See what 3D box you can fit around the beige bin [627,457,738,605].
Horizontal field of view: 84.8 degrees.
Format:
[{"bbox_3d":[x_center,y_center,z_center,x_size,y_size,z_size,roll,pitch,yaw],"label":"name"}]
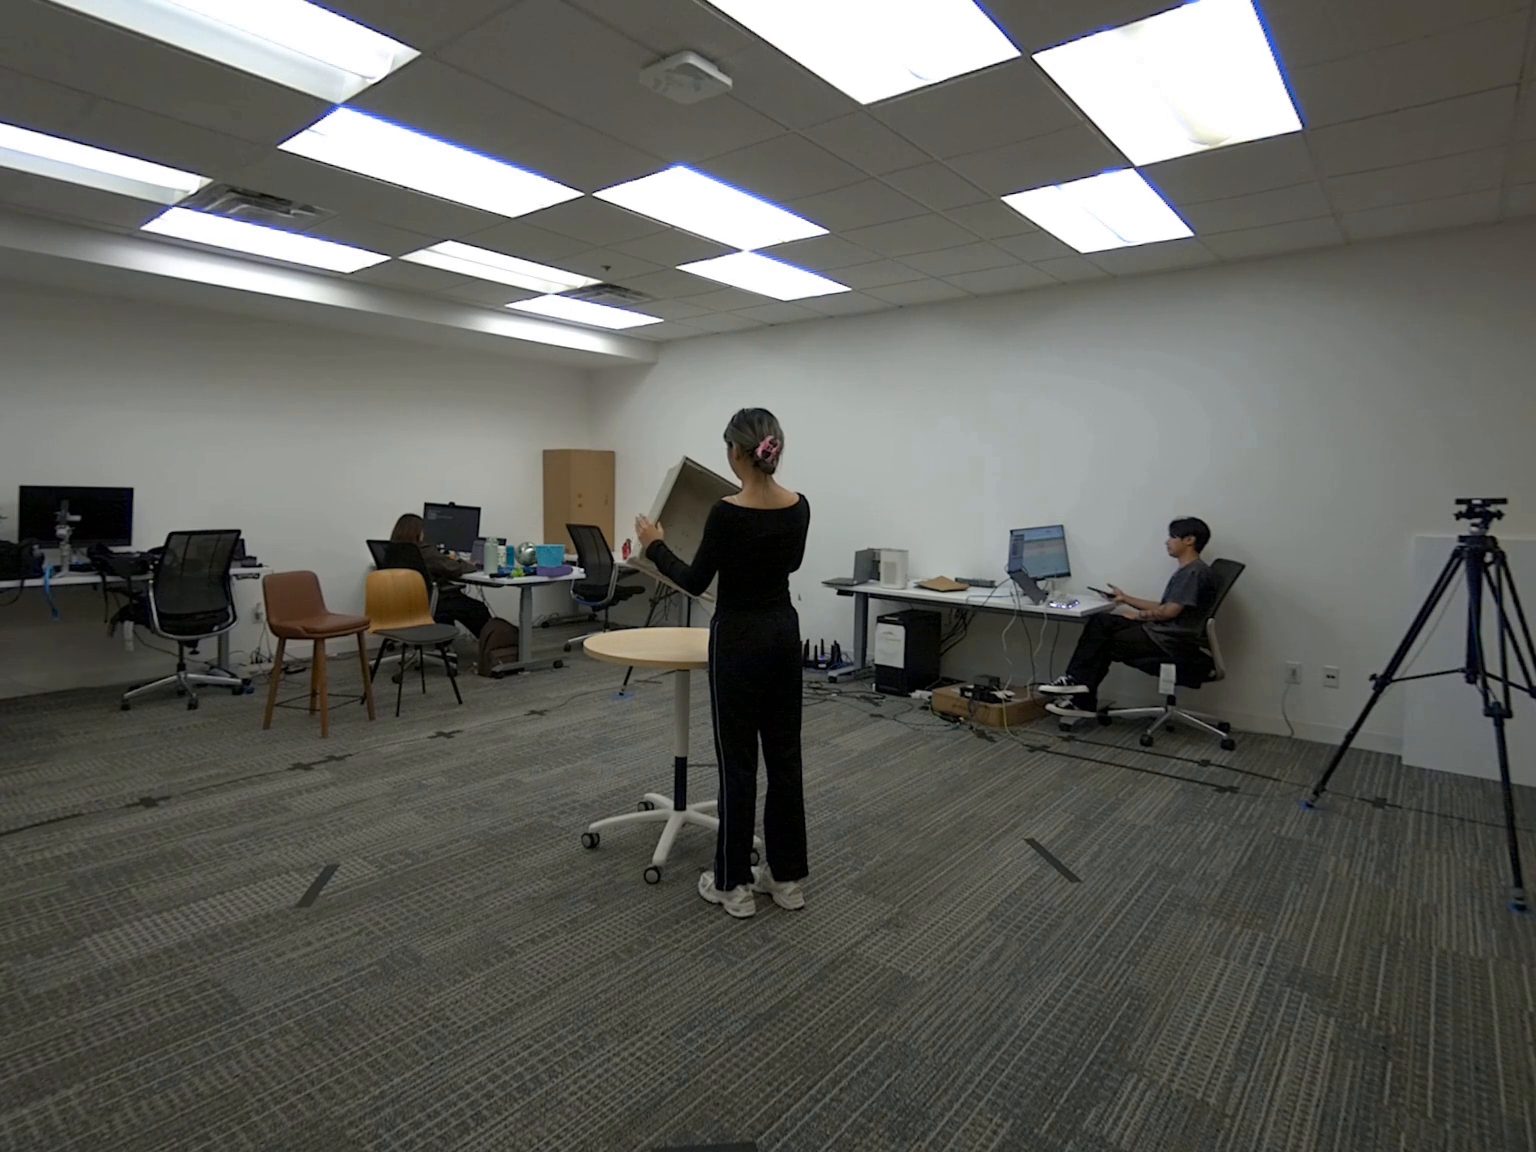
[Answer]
[{"bbox_3d":[-0.270,-0.162,3.152,0.369,0.425,0.192,27,-16,-17],"label":"beige bin"}]
